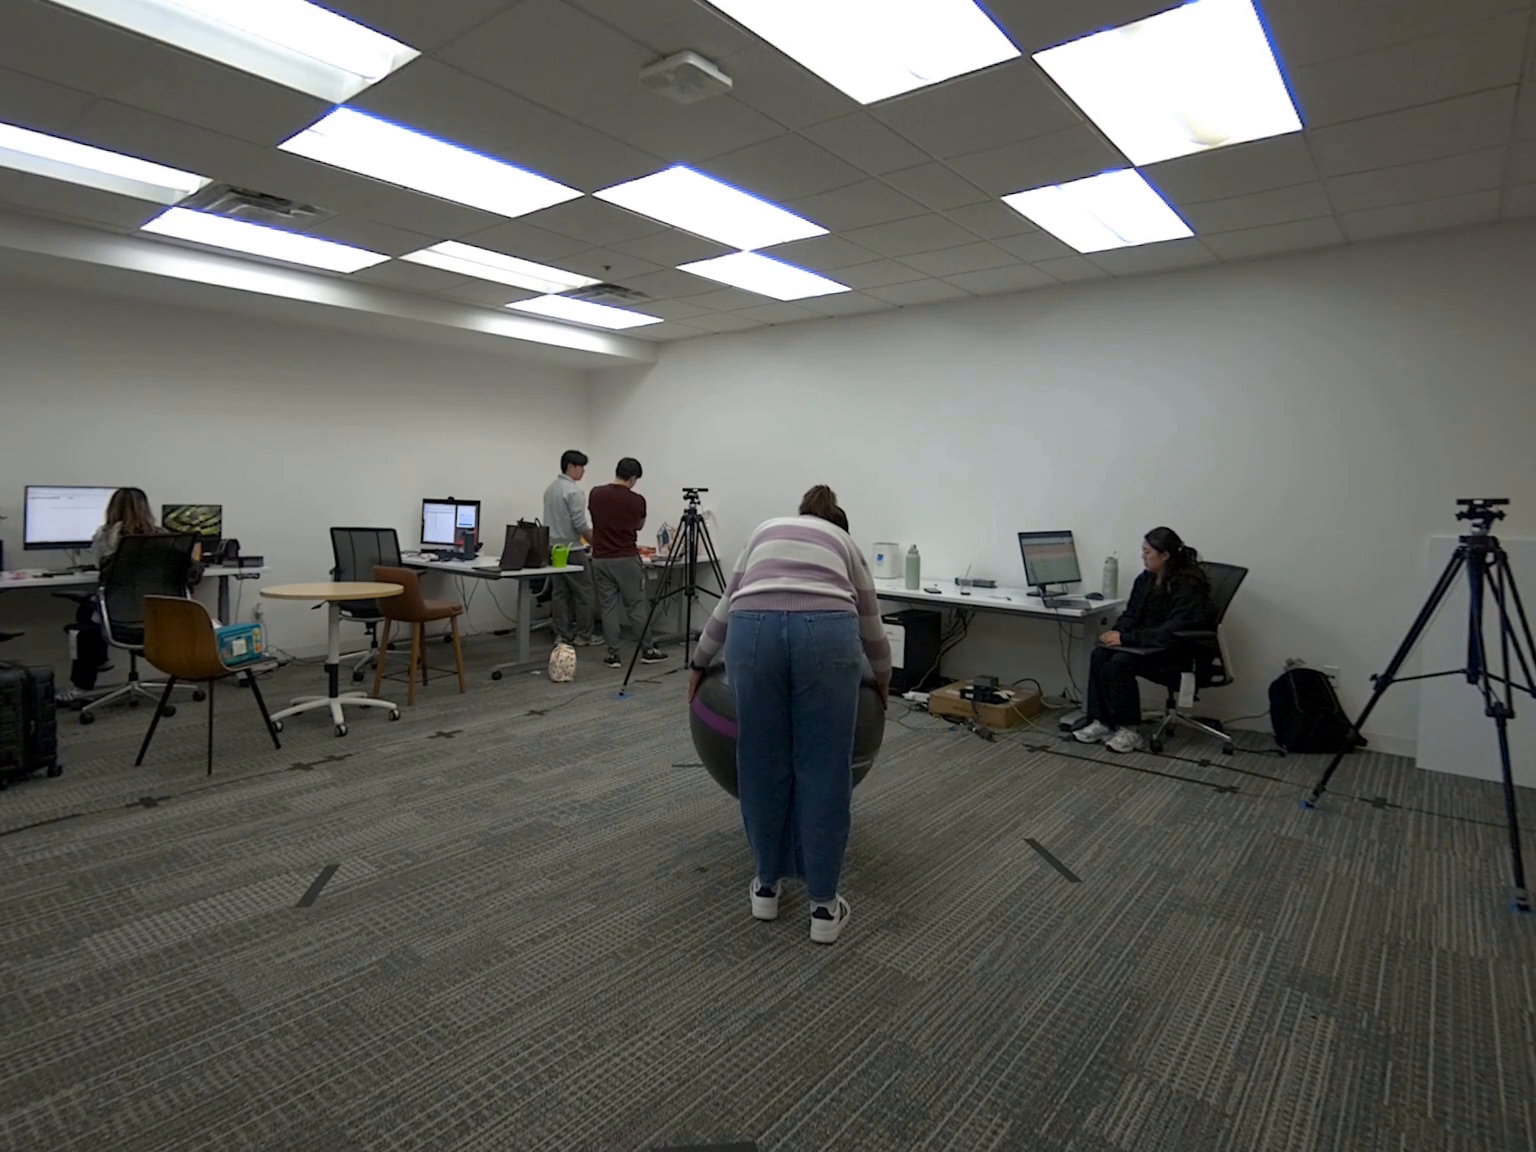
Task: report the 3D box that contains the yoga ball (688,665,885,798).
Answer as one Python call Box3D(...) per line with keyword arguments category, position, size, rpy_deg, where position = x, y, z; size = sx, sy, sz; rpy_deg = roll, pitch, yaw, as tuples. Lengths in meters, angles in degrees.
Box3D(category="yoga ball", position=(0.058, 0.526, 3.327), size=(0.757, 0.756, 0.762), rpy_deg=(1, 4, -2))
